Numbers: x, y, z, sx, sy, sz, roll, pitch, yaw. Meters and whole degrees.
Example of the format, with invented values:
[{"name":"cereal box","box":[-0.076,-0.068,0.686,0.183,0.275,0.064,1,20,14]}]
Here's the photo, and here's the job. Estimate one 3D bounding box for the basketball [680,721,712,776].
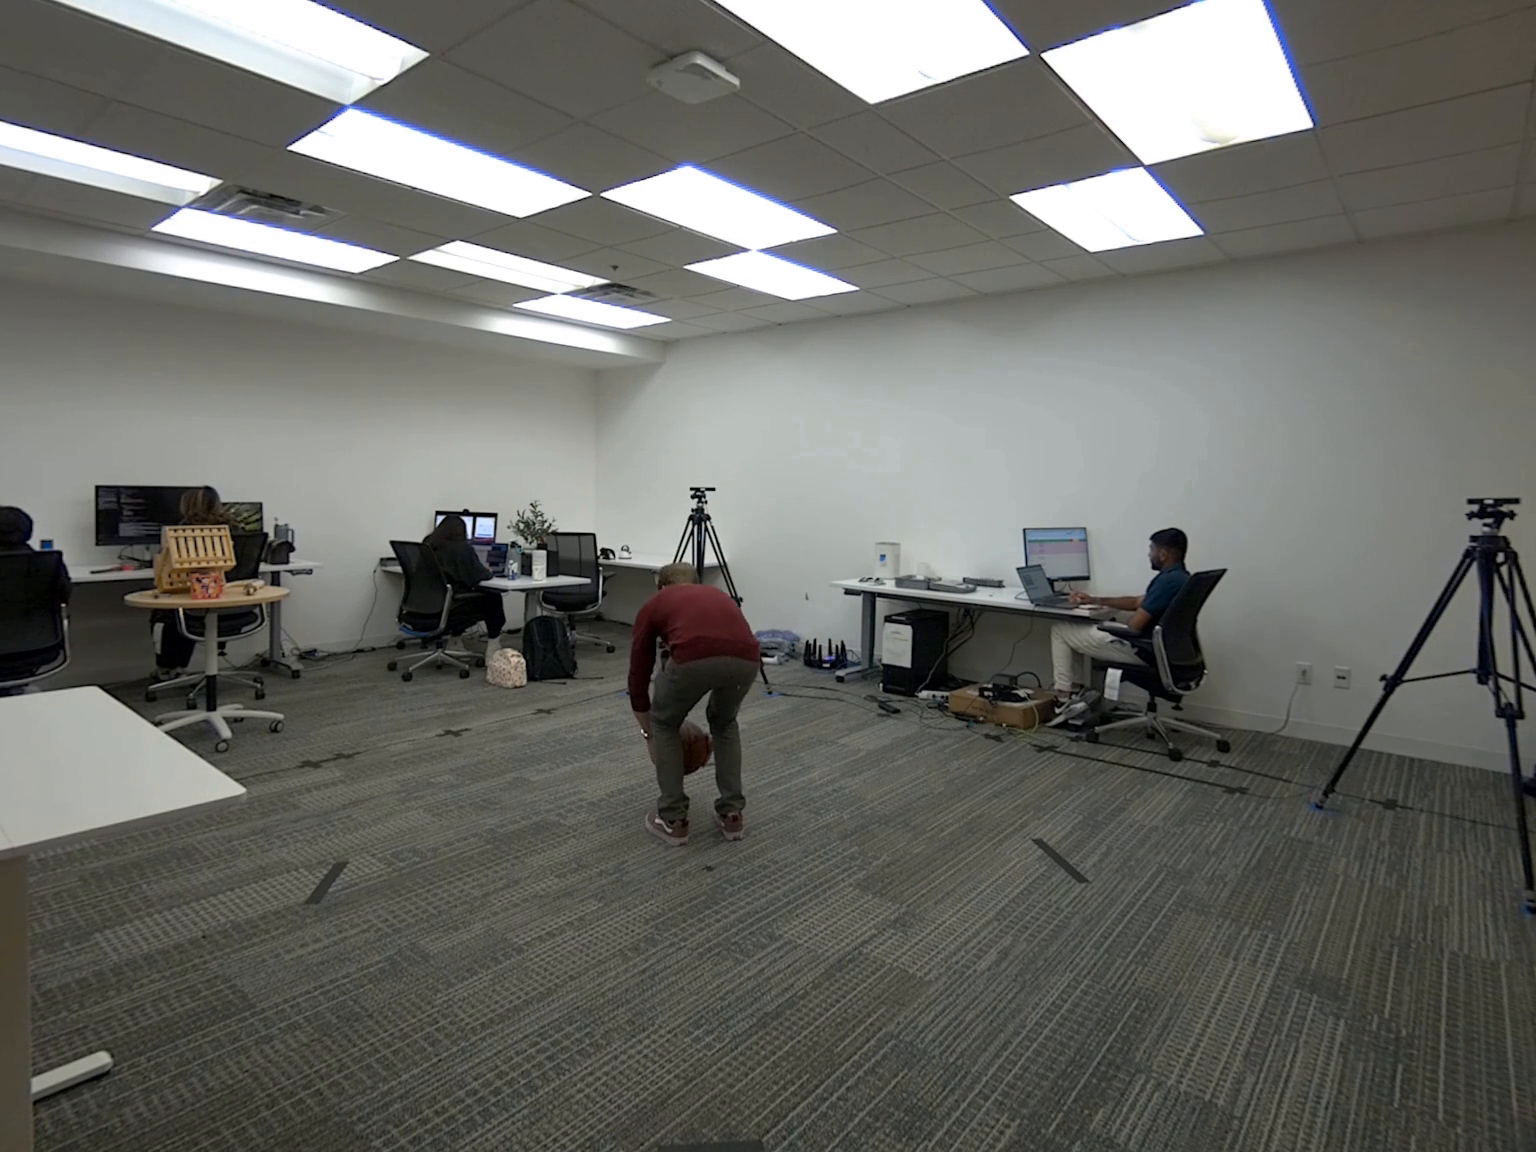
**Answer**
[{"name":"basketball","box":[-0.392,0.731,3.740,0.235,0.235,0.237,1,4,-2]}]
